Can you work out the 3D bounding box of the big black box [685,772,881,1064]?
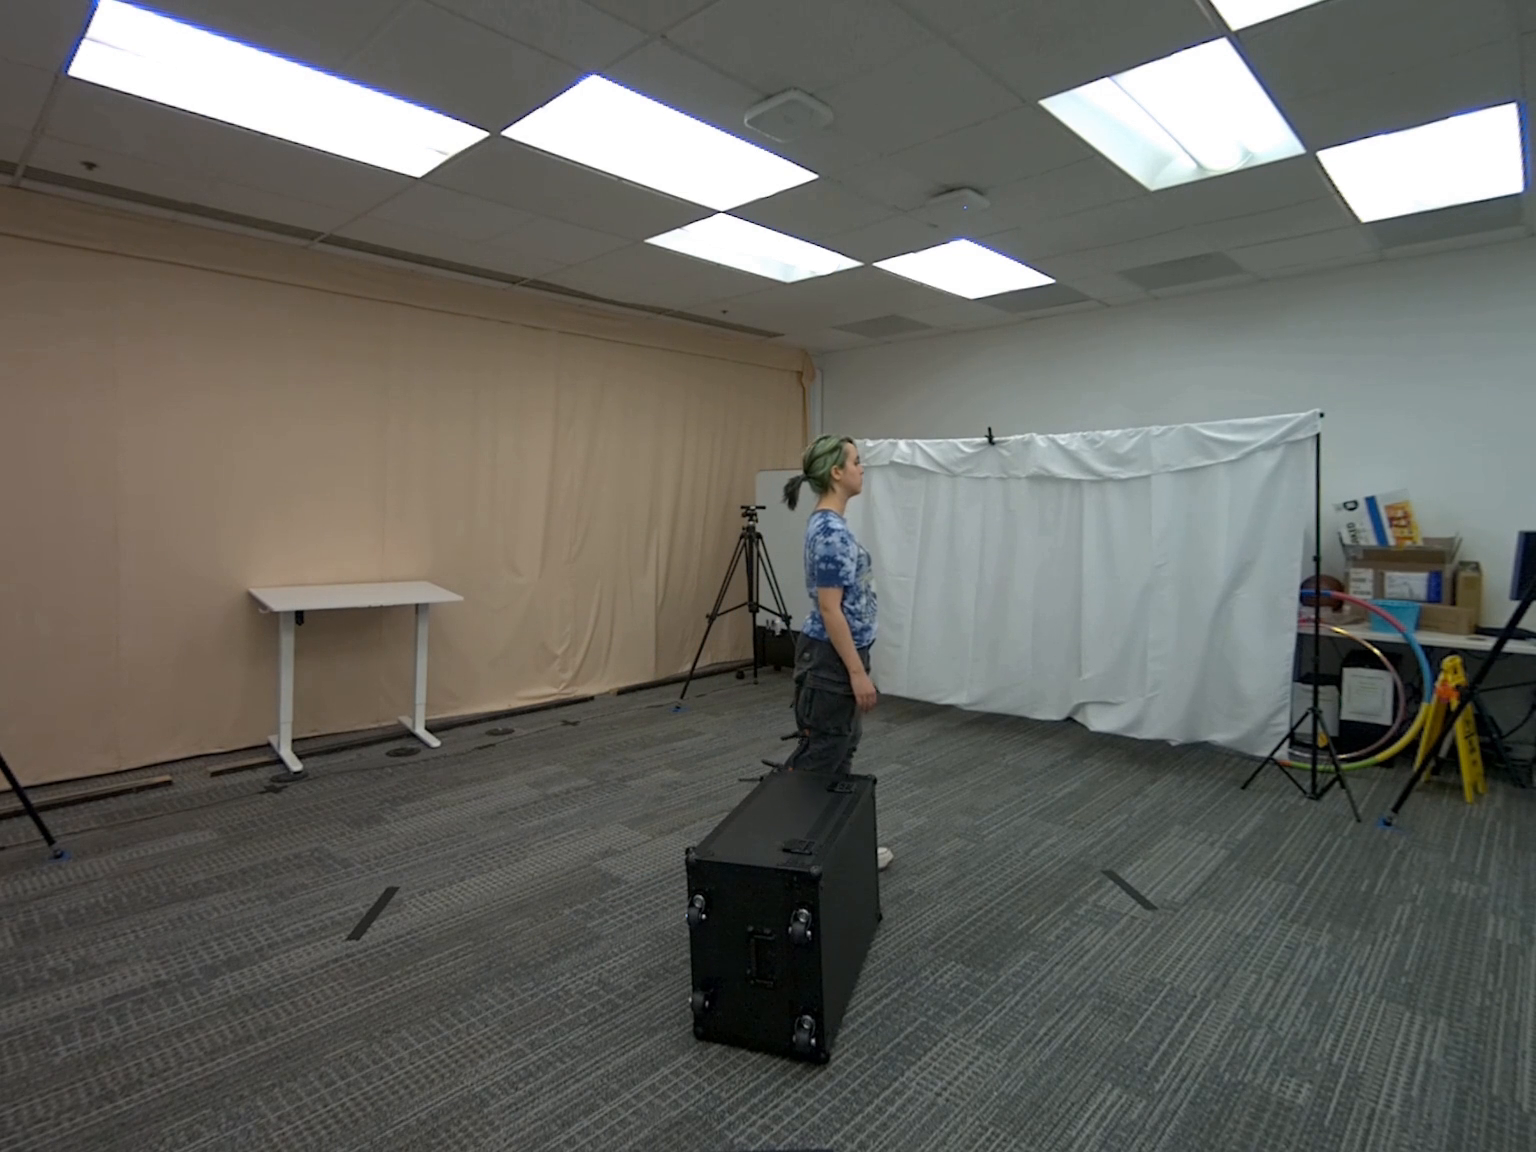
[{"bbox_3d":[0.058,0.936,2.451,0.404,0.520,0.846,-1,3,17],"label":"big black box"}]
